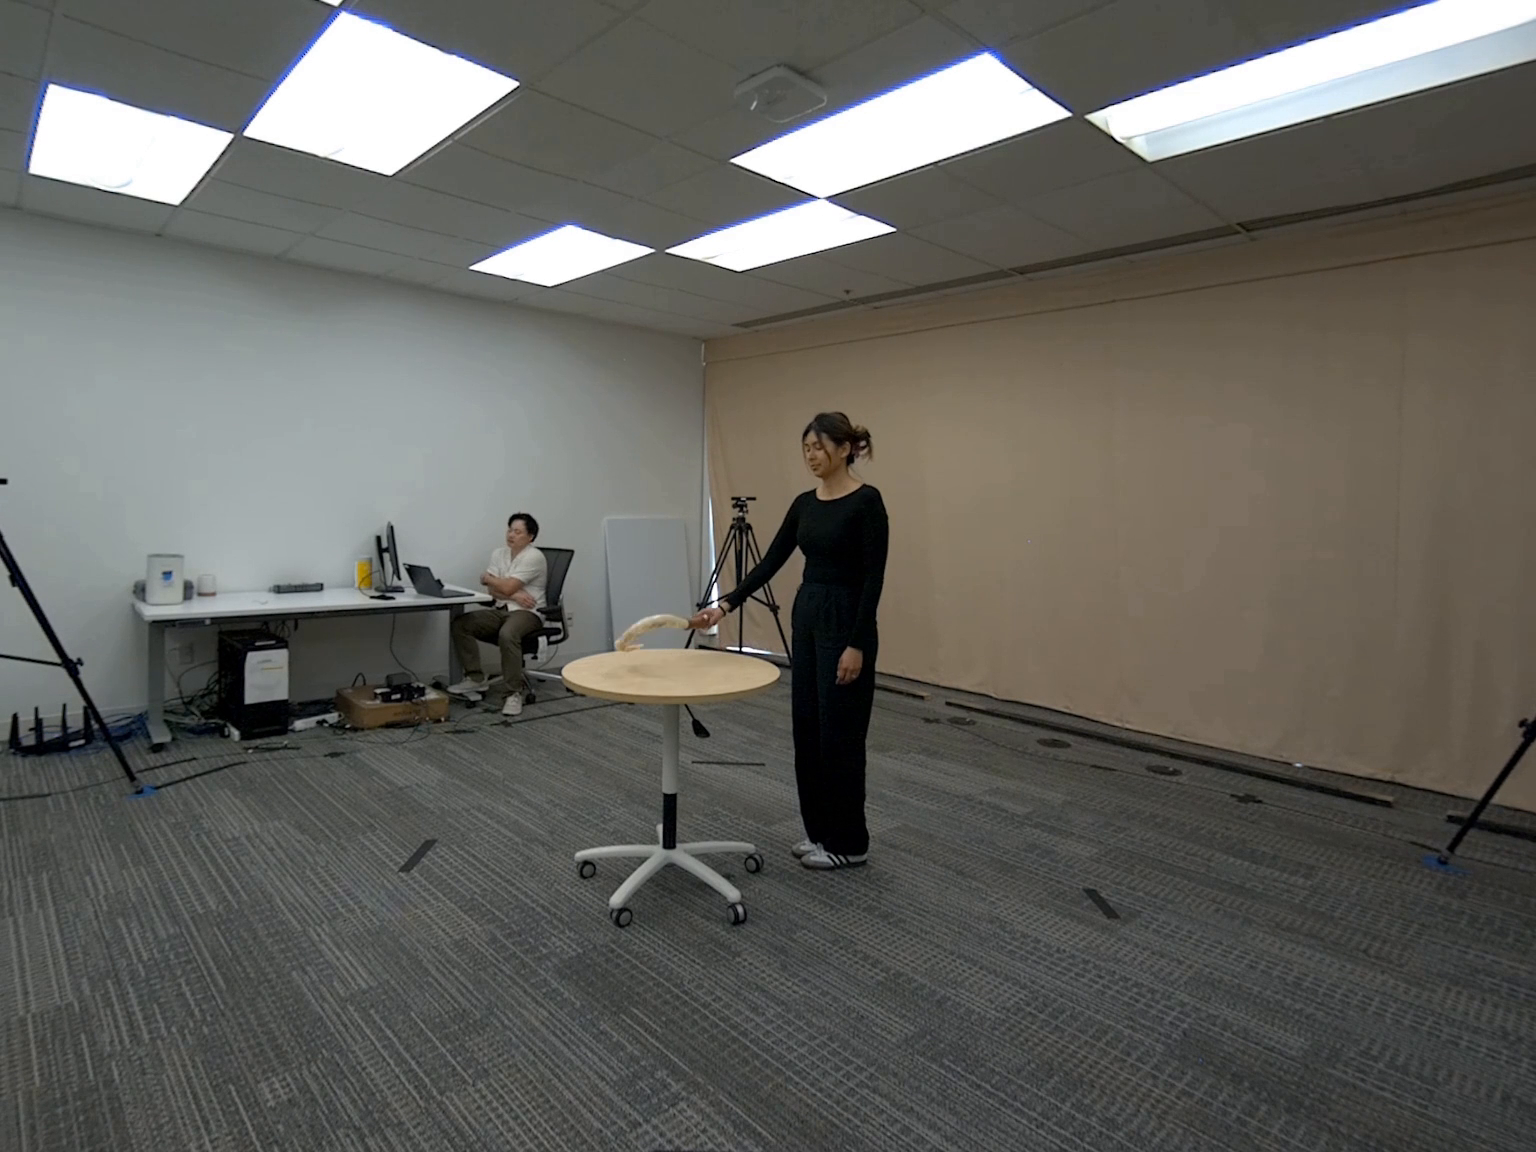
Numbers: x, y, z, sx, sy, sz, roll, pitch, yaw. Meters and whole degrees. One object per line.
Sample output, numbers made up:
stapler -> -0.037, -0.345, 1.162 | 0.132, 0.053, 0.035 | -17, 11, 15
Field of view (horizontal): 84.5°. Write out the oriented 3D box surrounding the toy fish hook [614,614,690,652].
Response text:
toy fish hook -> -0.368, 0.195, 3.056 | 0.225, 0.049, 0.495 | -37, -18, 27
